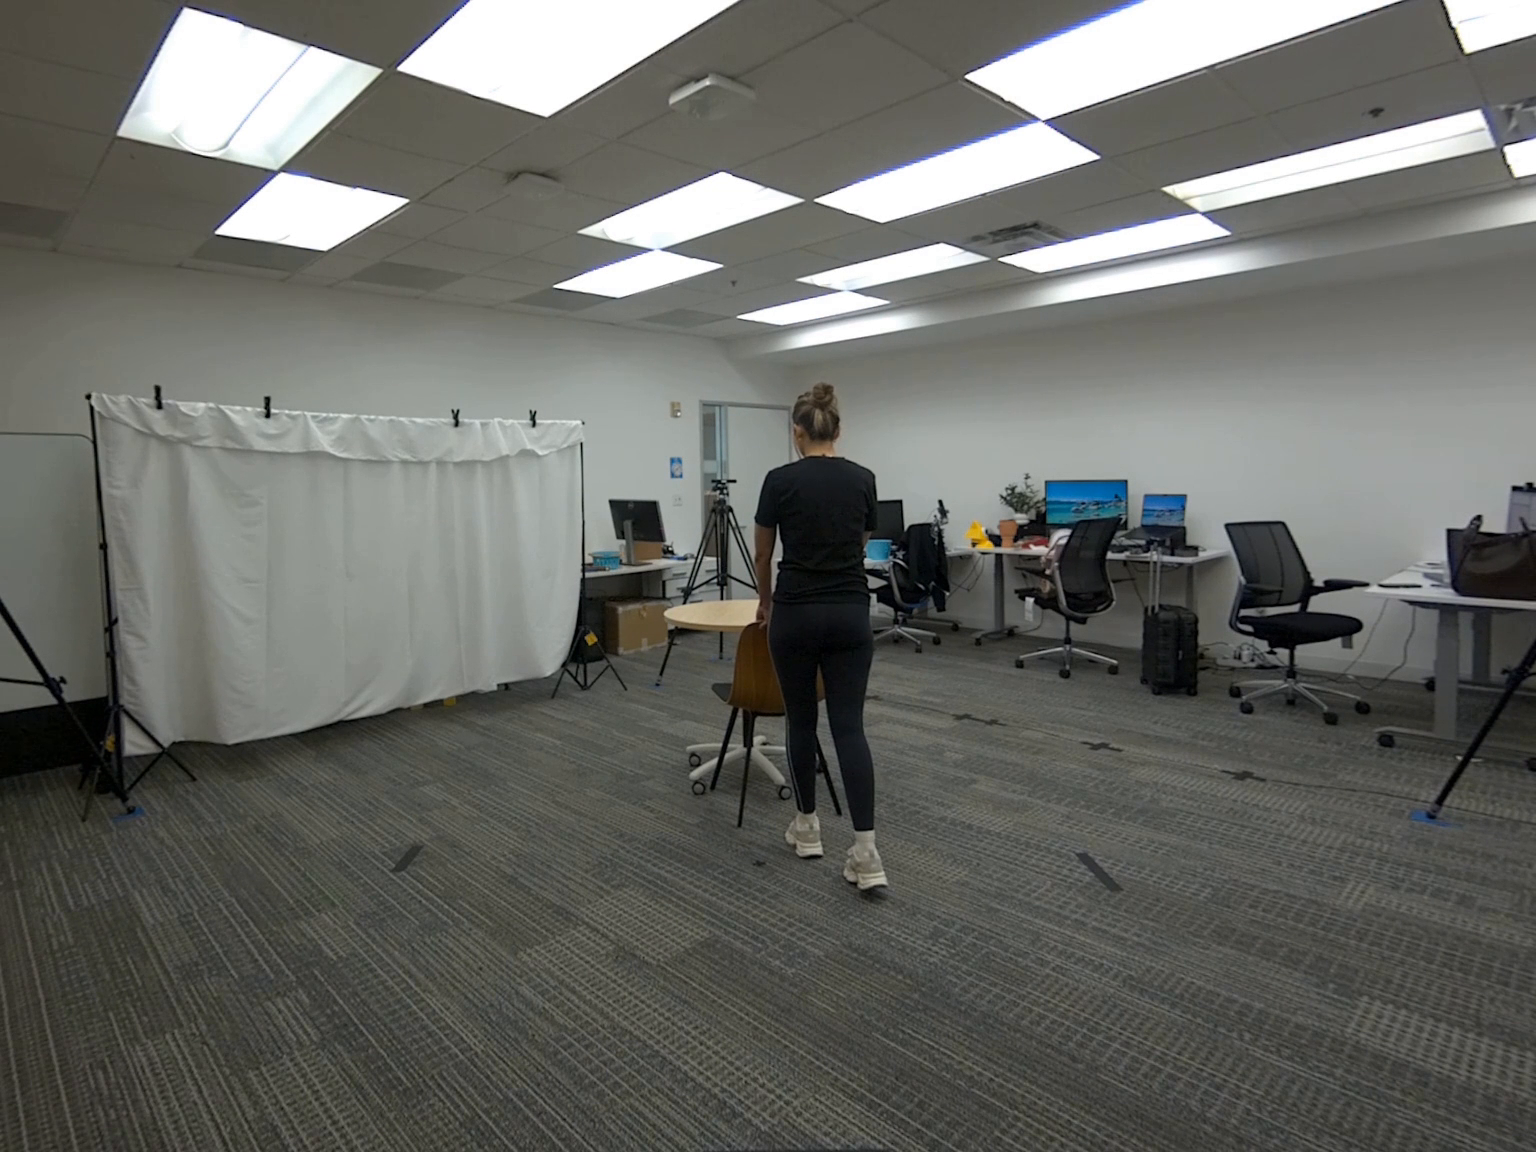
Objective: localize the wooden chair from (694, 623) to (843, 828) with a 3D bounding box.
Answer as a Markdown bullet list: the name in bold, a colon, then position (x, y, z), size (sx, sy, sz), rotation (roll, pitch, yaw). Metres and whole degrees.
- **wooden chair**: position (0.016, 0.555, 3.677), size (0.471, 0.871, 0.535), rotation (-2, 9, -17)
